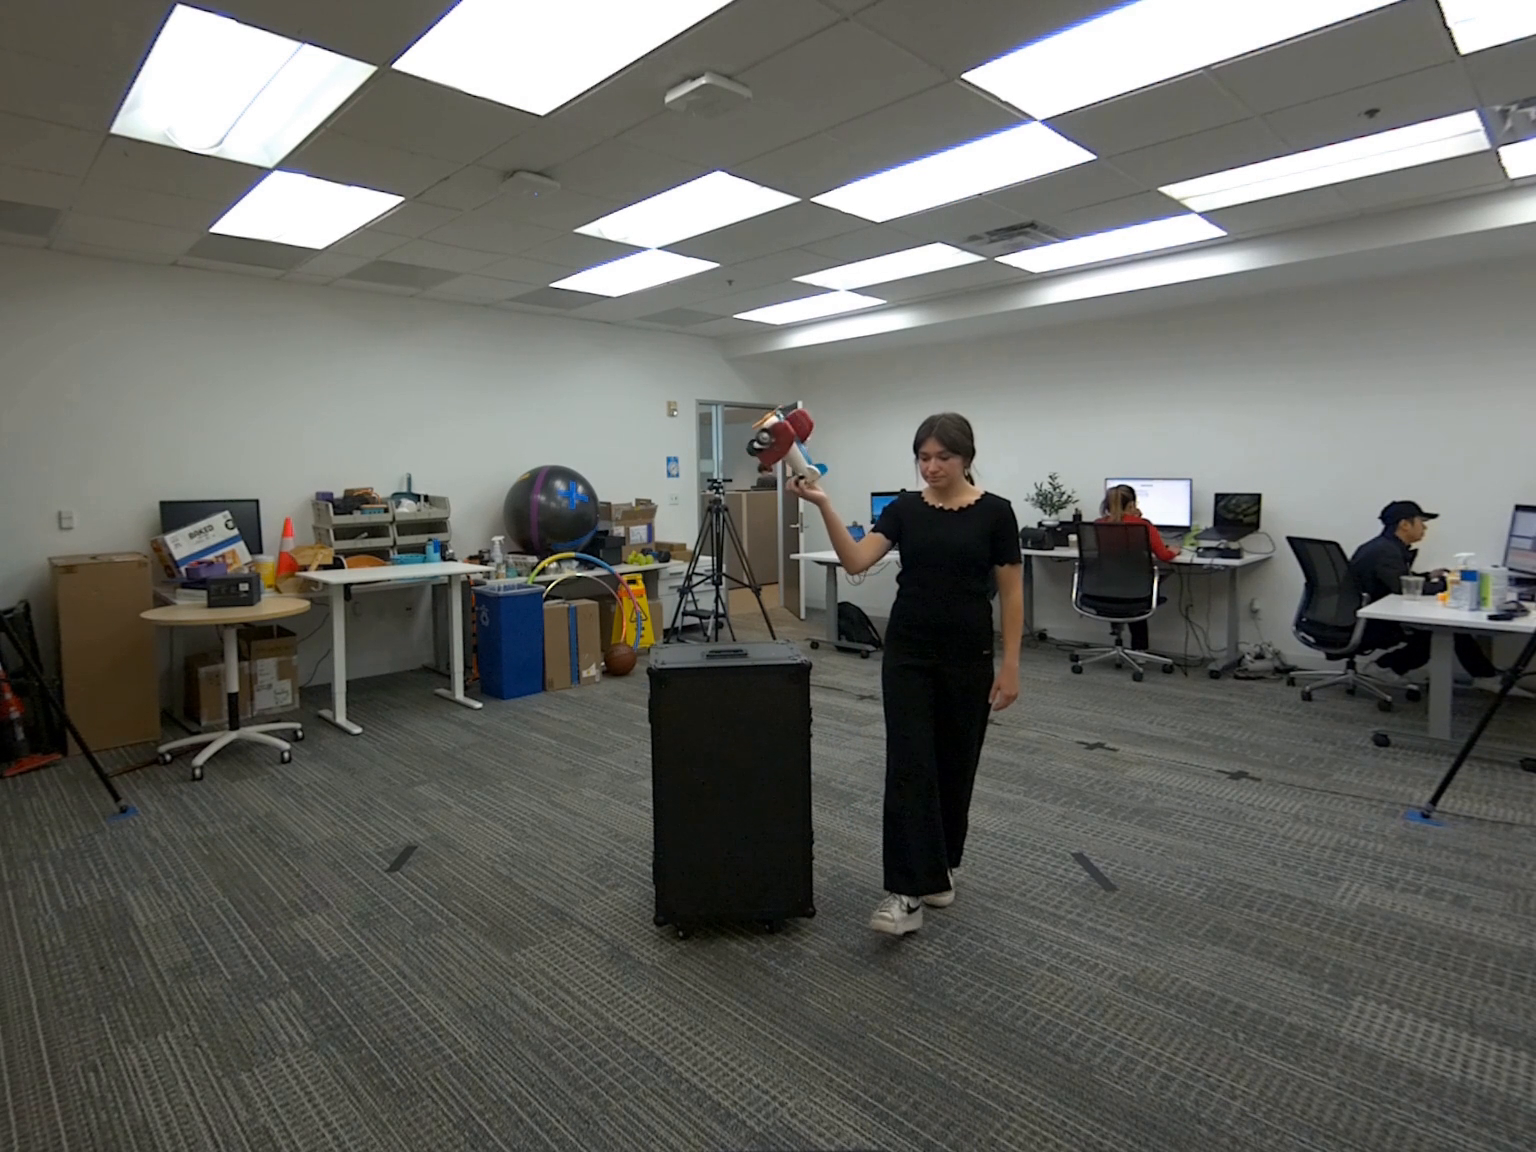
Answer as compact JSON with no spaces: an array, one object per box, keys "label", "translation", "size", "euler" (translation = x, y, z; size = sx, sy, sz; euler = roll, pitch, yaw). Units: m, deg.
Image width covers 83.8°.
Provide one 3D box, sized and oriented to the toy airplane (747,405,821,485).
[{"label":"toy airplane","translation":[0.062,-0.394,2.699],"size":[0.259,0.251,0.156],"euler":[8,49,51]}]
